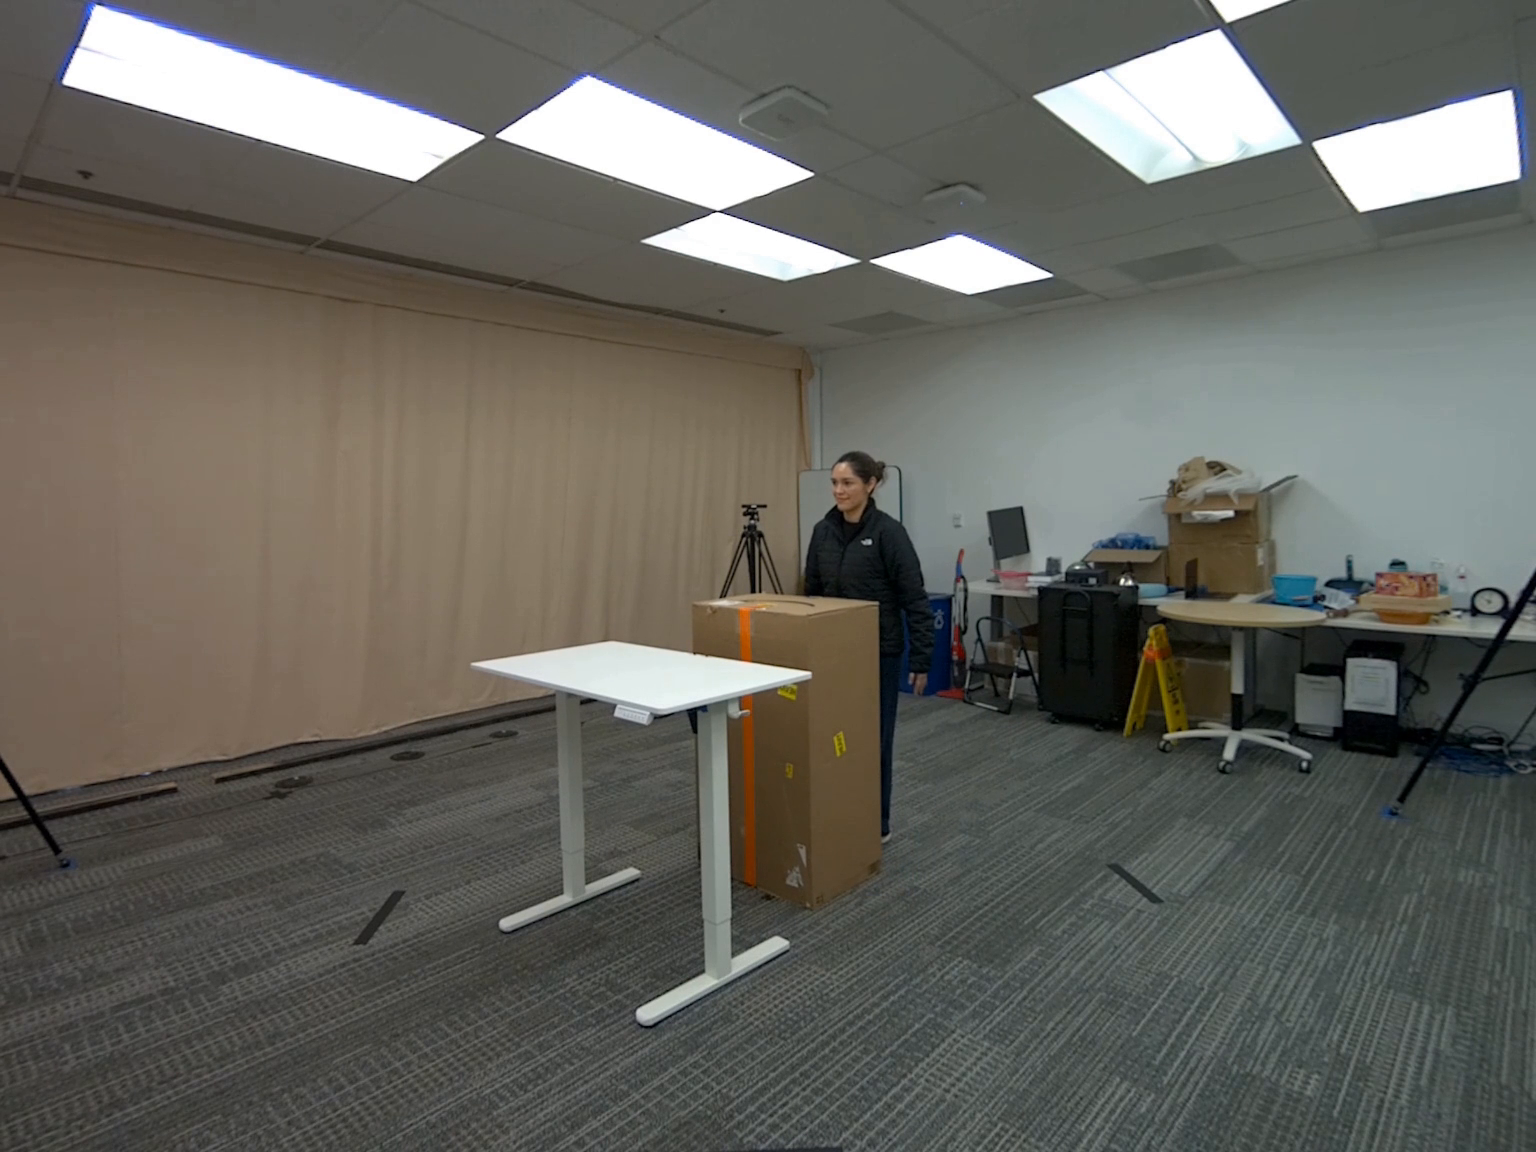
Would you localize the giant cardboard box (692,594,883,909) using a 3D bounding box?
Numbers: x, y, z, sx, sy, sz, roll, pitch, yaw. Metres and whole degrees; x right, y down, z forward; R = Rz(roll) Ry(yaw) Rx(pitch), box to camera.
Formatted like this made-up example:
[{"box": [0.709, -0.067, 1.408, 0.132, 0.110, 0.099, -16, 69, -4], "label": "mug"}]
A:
[{"box": [0.073, 0.611, 3.197, 0.597, 1.023, 0.413, 3, 5, 43], "label": "giant cardboard box"}]
